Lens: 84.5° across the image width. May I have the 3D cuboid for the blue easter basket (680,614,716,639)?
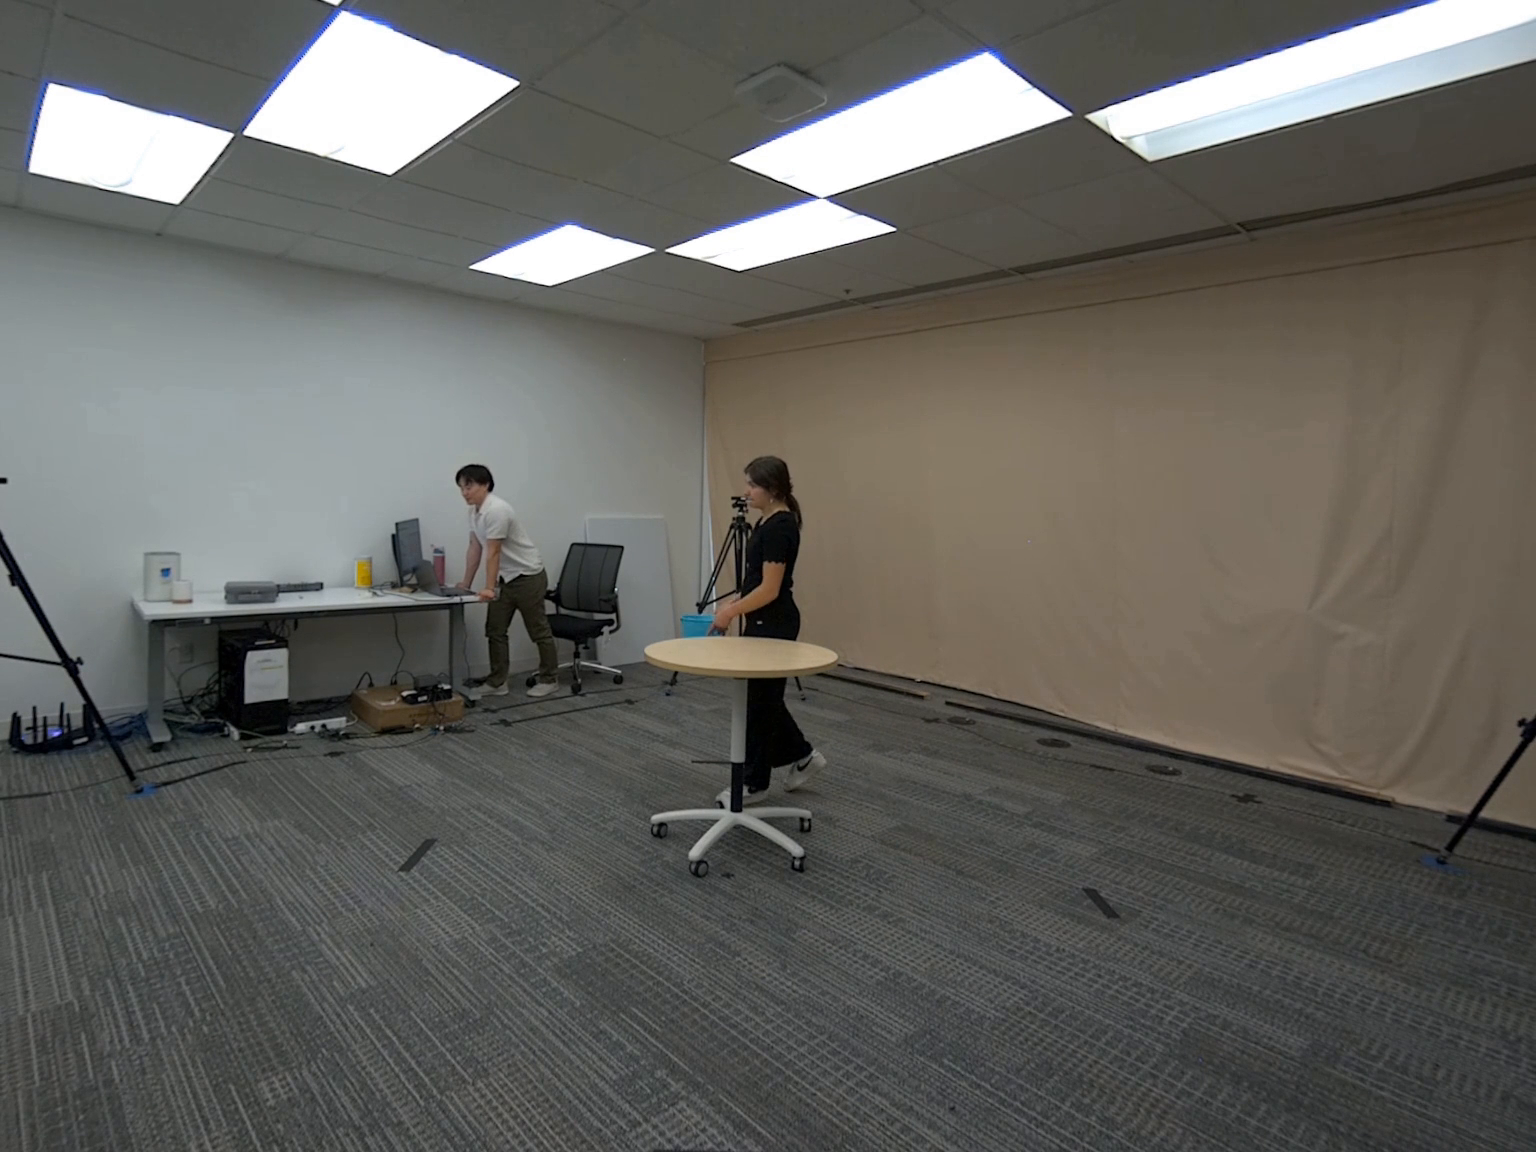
[{"bbox_3d":[-0.284,0.265,3.912,0.243,0.155,0.244,1,3,-1],"label":"blue easter basket"}]
